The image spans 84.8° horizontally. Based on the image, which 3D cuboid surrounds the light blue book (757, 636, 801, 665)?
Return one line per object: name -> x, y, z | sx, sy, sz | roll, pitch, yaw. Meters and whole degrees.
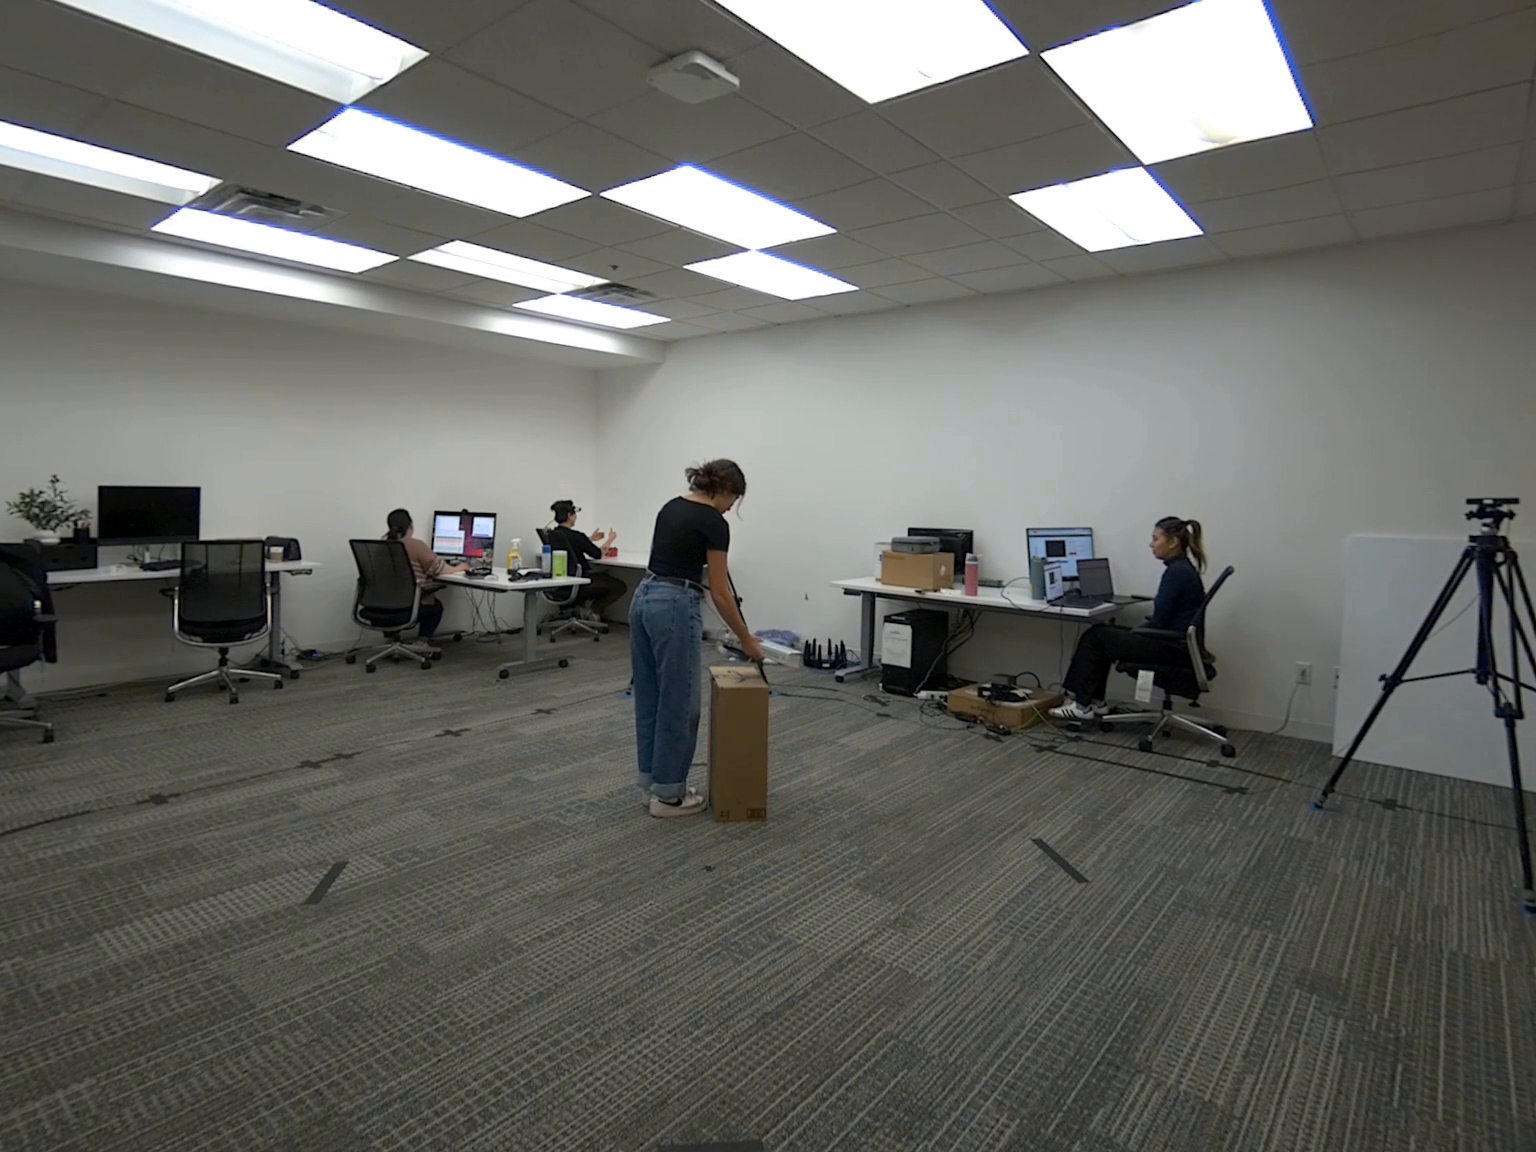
light blue book -> -0.010, 0.329, 3.770 | 0.268, 0.059, 0.186 | 17, 0, 23
